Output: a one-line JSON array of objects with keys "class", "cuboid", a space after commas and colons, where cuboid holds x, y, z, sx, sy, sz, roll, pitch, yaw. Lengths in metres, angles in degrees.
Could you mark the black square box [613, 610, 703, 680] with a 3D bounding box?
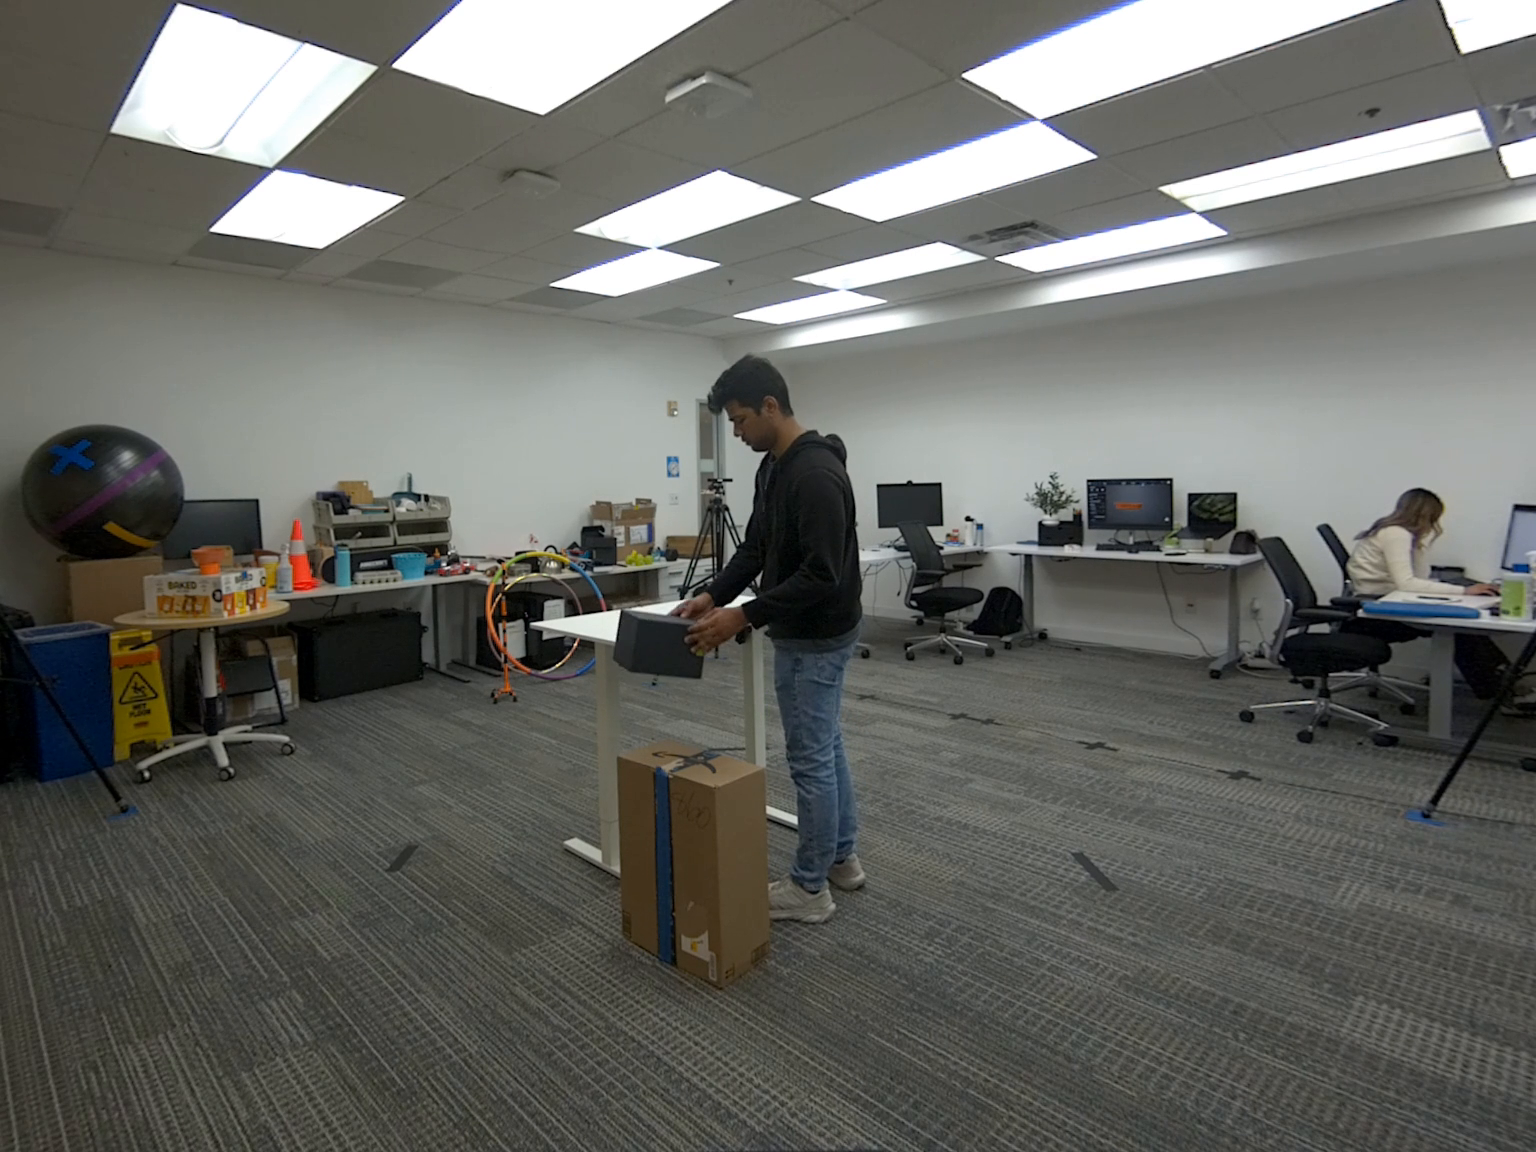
[{"class": "black square box", "cuboid": [-0.319, 0.199, 2.555, 0.212, 0.156, 0.233, 8, 1, -21]}]
